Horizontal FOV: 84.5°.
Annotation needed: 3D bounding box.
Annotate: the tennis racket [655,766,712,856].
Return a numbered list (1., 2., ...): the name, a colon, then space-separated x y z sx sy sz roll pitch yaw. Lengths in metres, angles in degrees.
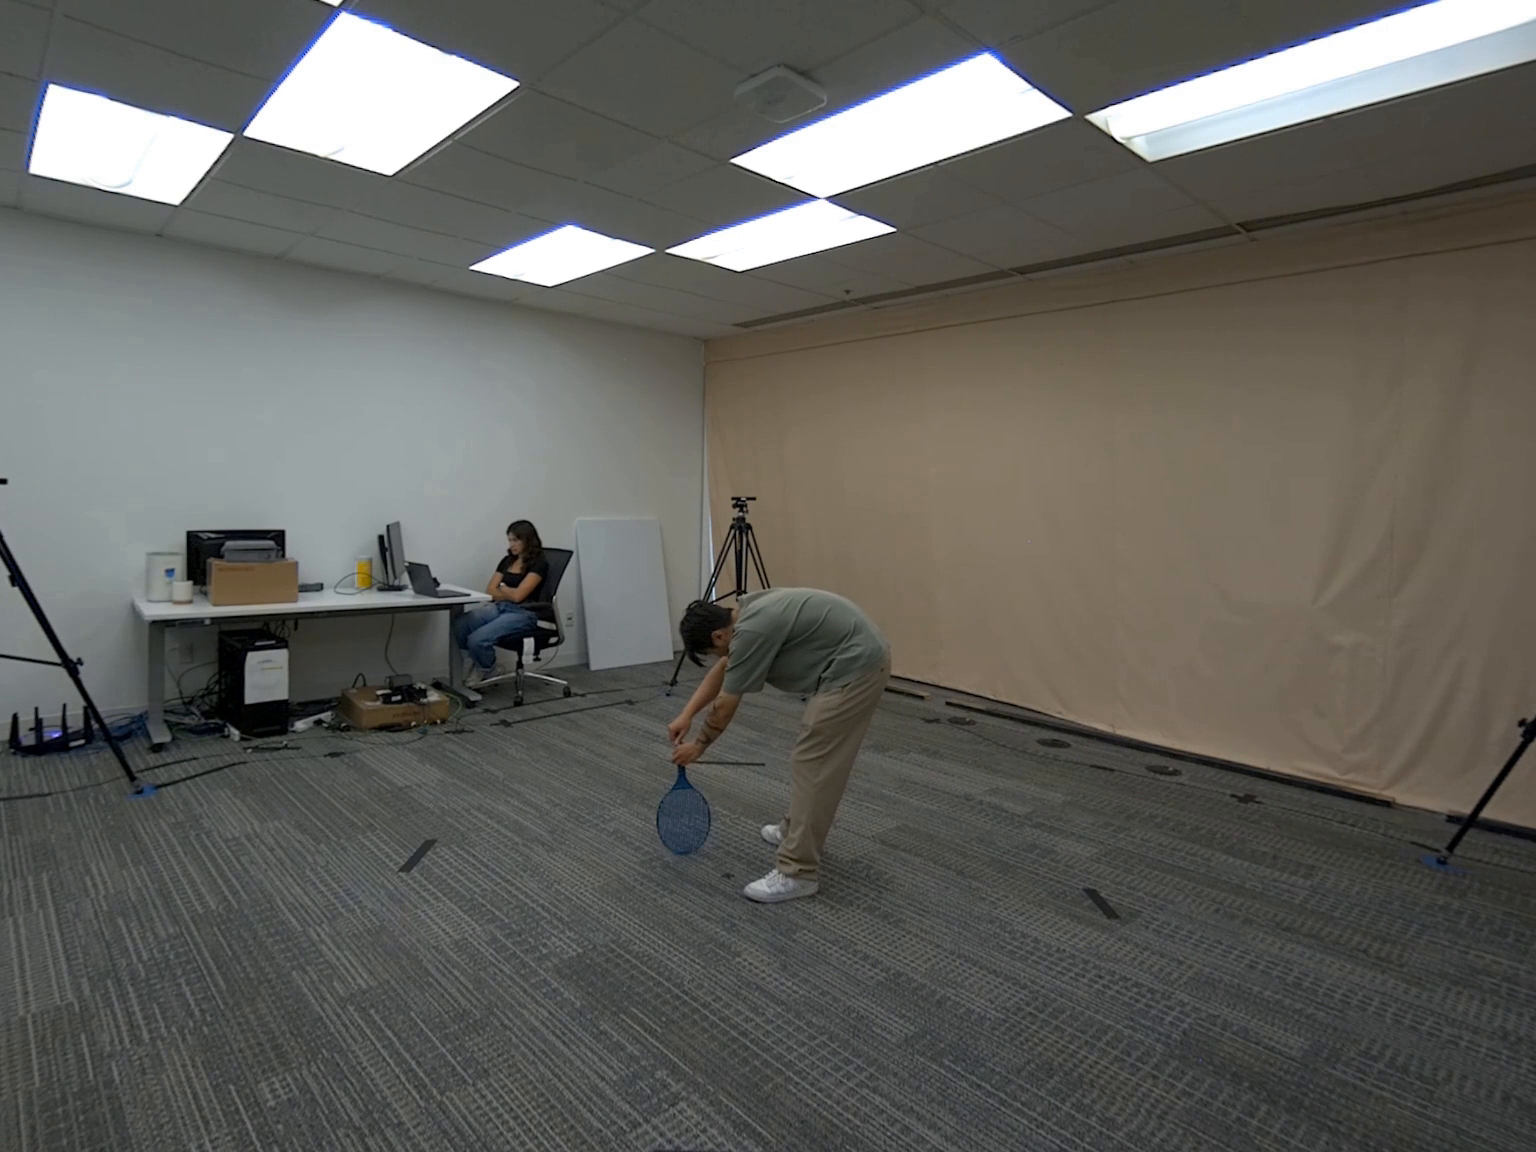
1. tennis racket: -0.344 0.873 3.281 0.213 0.433 0.032 -5 0 -6
